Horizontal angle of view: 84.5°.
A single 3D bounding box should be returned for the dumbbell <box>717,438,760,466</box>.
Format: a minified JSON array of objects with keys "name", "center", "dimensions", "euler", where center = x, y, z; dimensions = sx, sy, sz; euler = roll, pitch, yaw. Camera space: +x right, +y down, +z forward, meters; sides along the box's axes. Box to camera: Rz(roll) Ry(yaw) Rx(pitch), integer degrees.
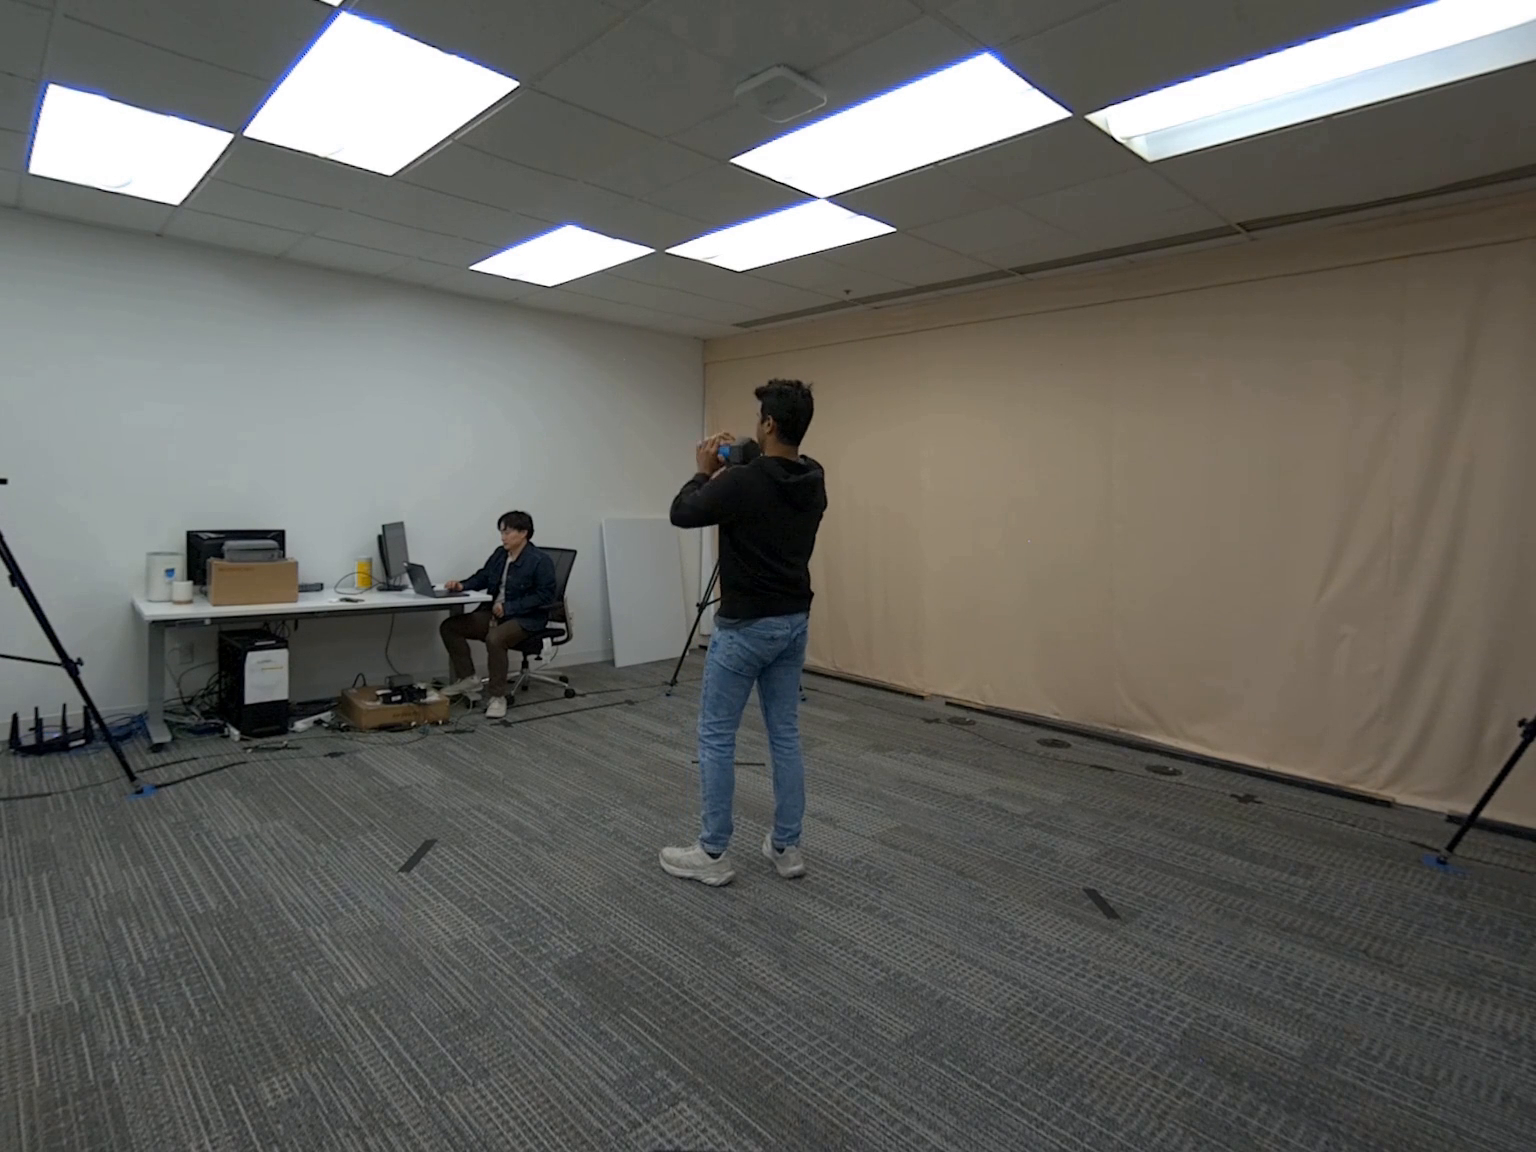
[{"name":"dumbbell","center":[-0.151,-0.480,3.242],"dimensions":[0.122,0.106,0.301],"euler":[-38,29,-25]}]
